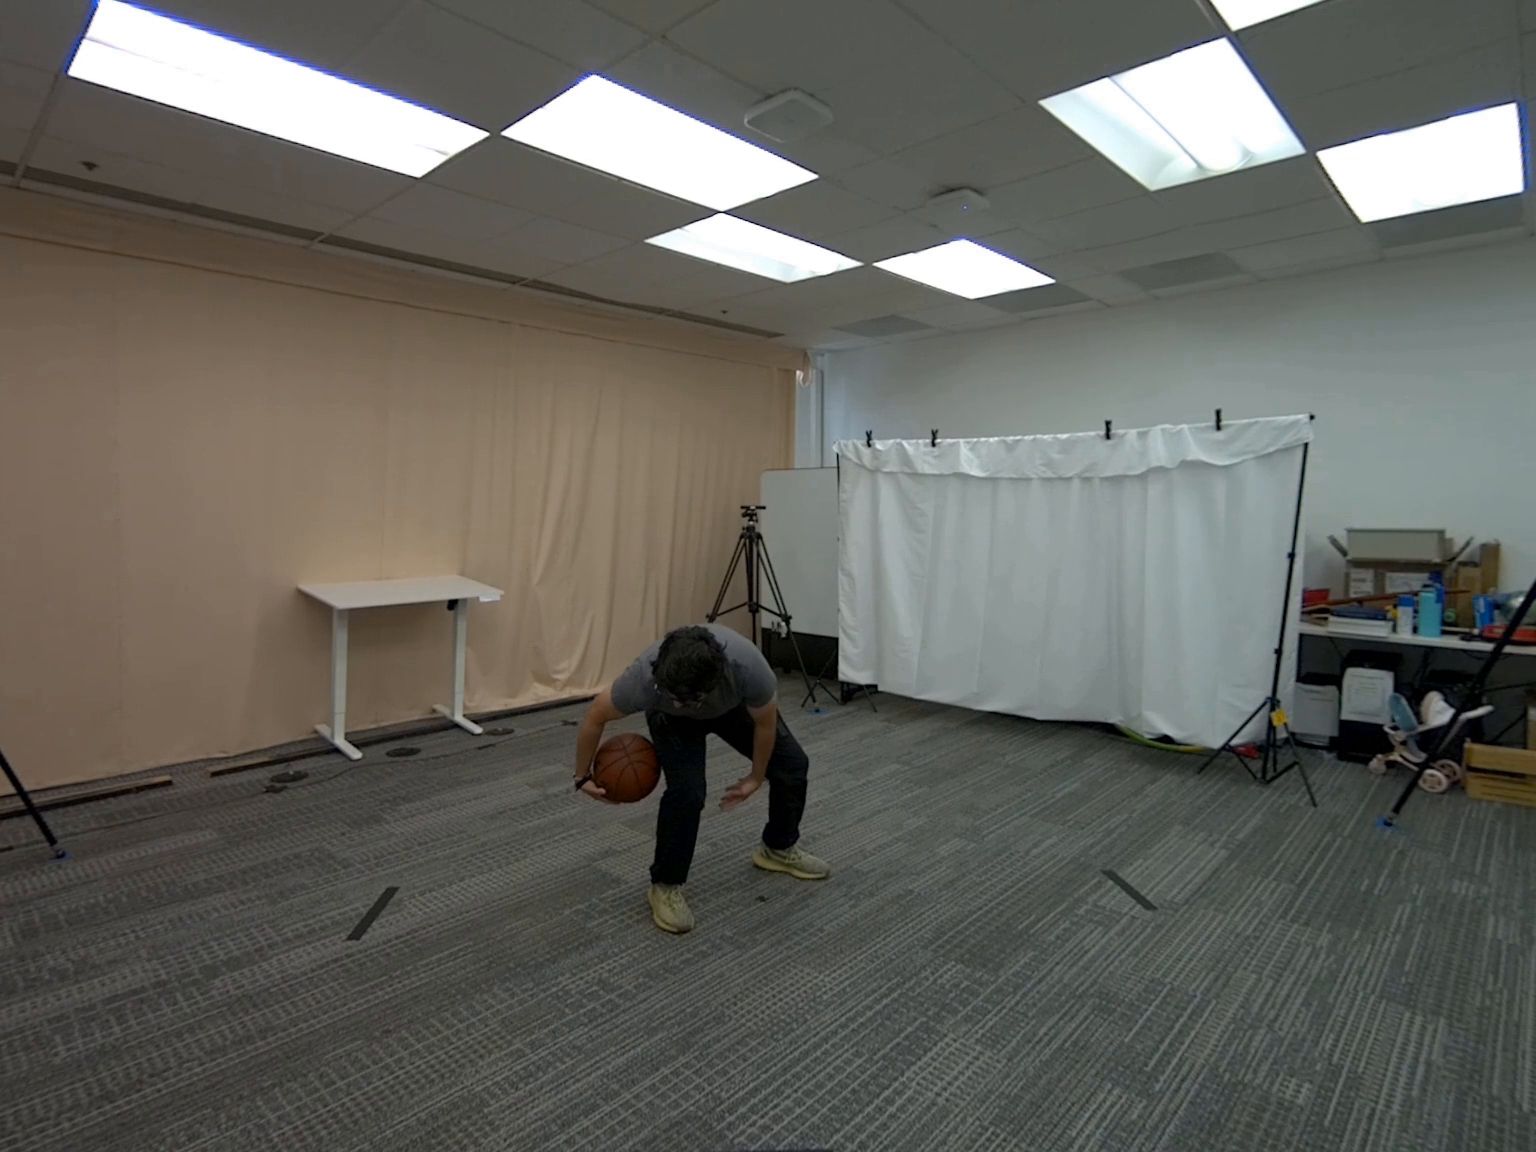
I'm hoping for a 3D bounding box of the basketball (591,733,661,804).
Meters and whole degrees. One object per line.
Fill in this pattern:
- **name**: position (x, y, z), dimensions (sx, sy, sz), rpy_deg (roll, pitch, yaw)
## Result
- **basketball**: position (-0.484, 0.671, 2.937), dimensions (0.236, 0.235, 0.237), rpy_deg (0, 4, -2)
